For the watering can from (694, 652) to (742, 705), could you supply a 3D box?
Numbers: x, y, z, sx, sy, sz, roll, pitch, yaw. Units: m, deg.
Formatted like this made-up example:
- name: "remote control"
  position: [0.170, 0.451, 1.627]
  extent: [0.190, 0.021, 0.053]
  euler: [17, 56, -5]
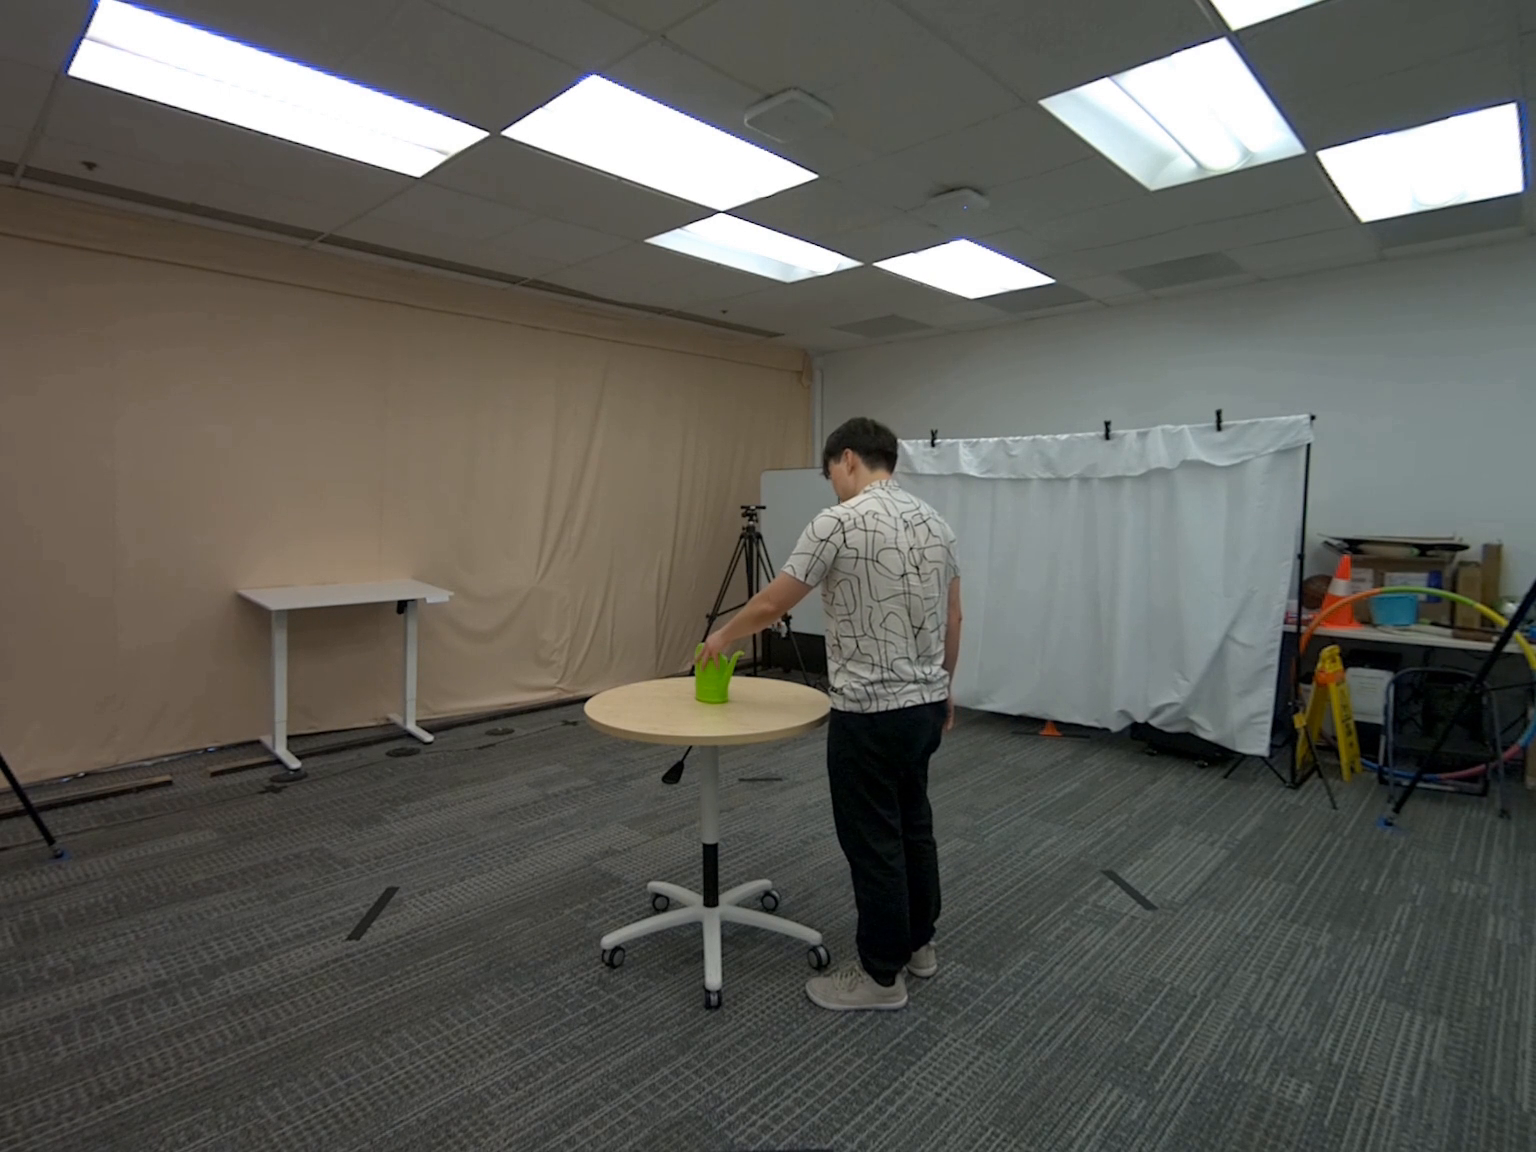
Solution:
- name: "watering can"
  position: [-0.157, 0.303, 2.598]
  extent: [0.096, 0.176, 0.283]
  euler: [0, 3, -16]
